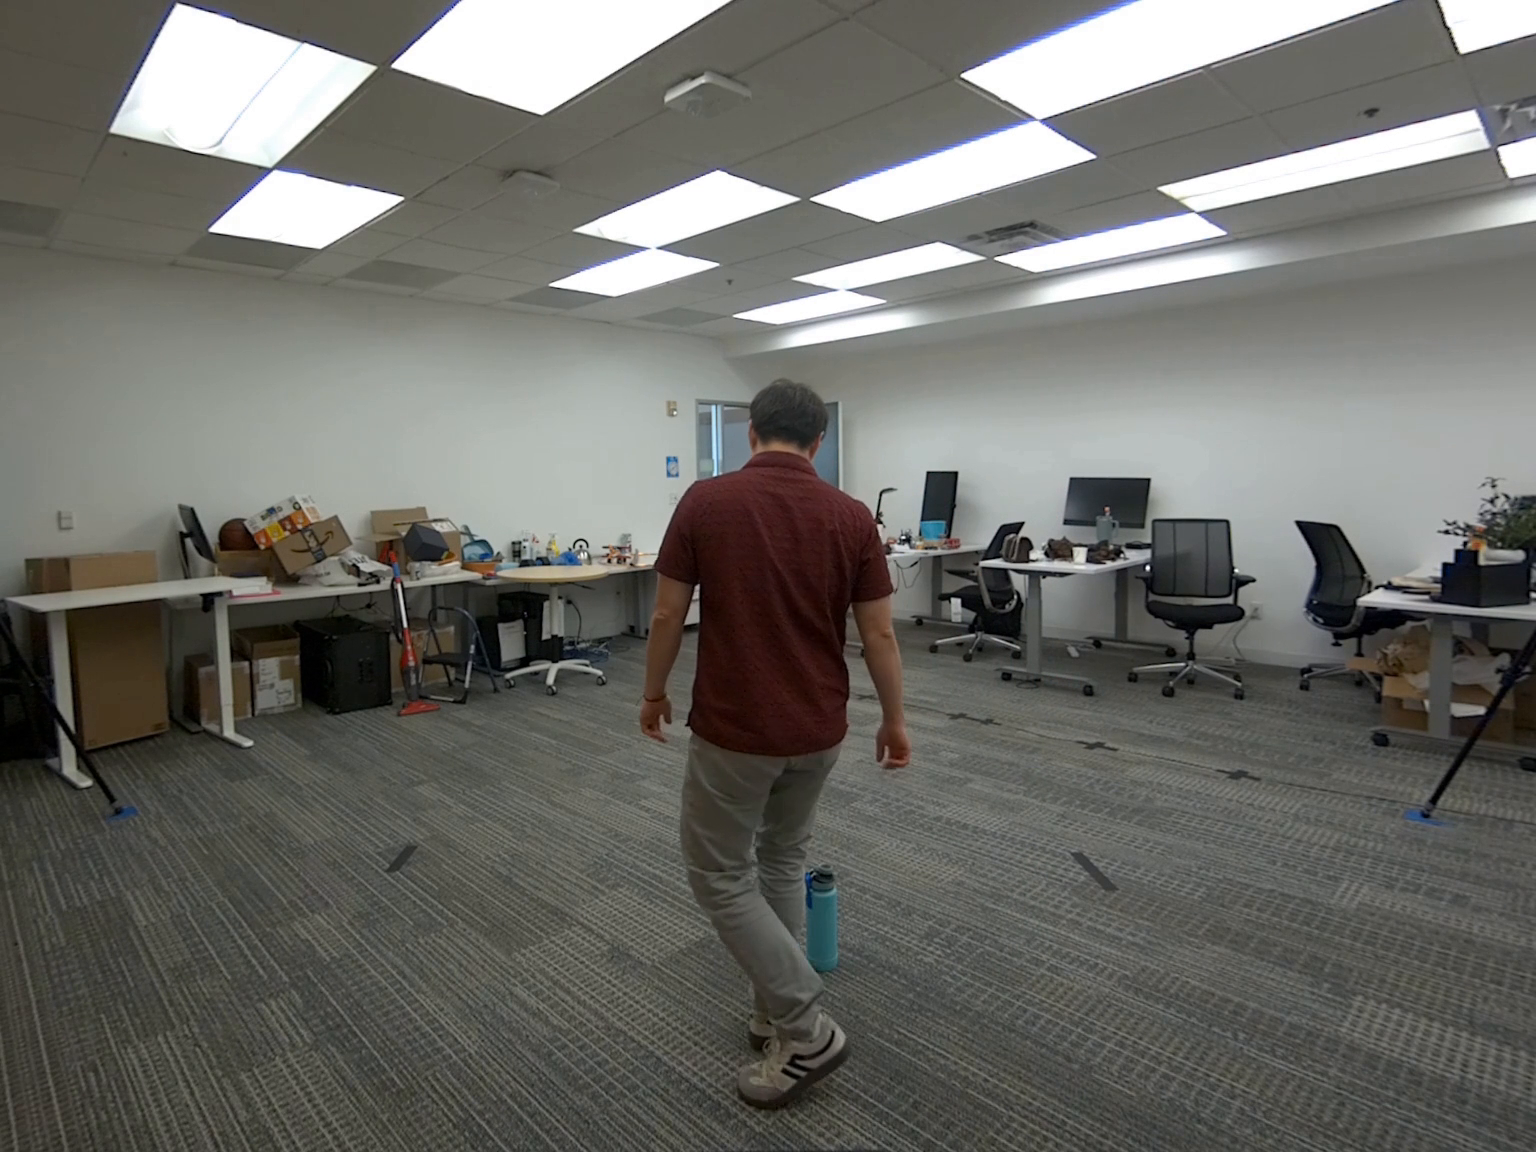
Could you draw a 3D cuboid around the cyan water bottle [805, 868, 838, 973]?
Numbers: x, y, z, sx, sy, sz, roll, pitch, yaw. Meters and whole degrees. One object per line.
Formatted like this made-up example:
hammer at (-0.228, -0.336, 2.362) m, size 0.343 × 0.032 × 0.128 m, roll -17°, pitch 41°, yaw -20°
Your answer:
cyan water bottle at (0.163, 0.981, 2.448) m, size 0.092 × 0.282 × 0.093 m, roll -2°, pitch 4°, yaw -2°
